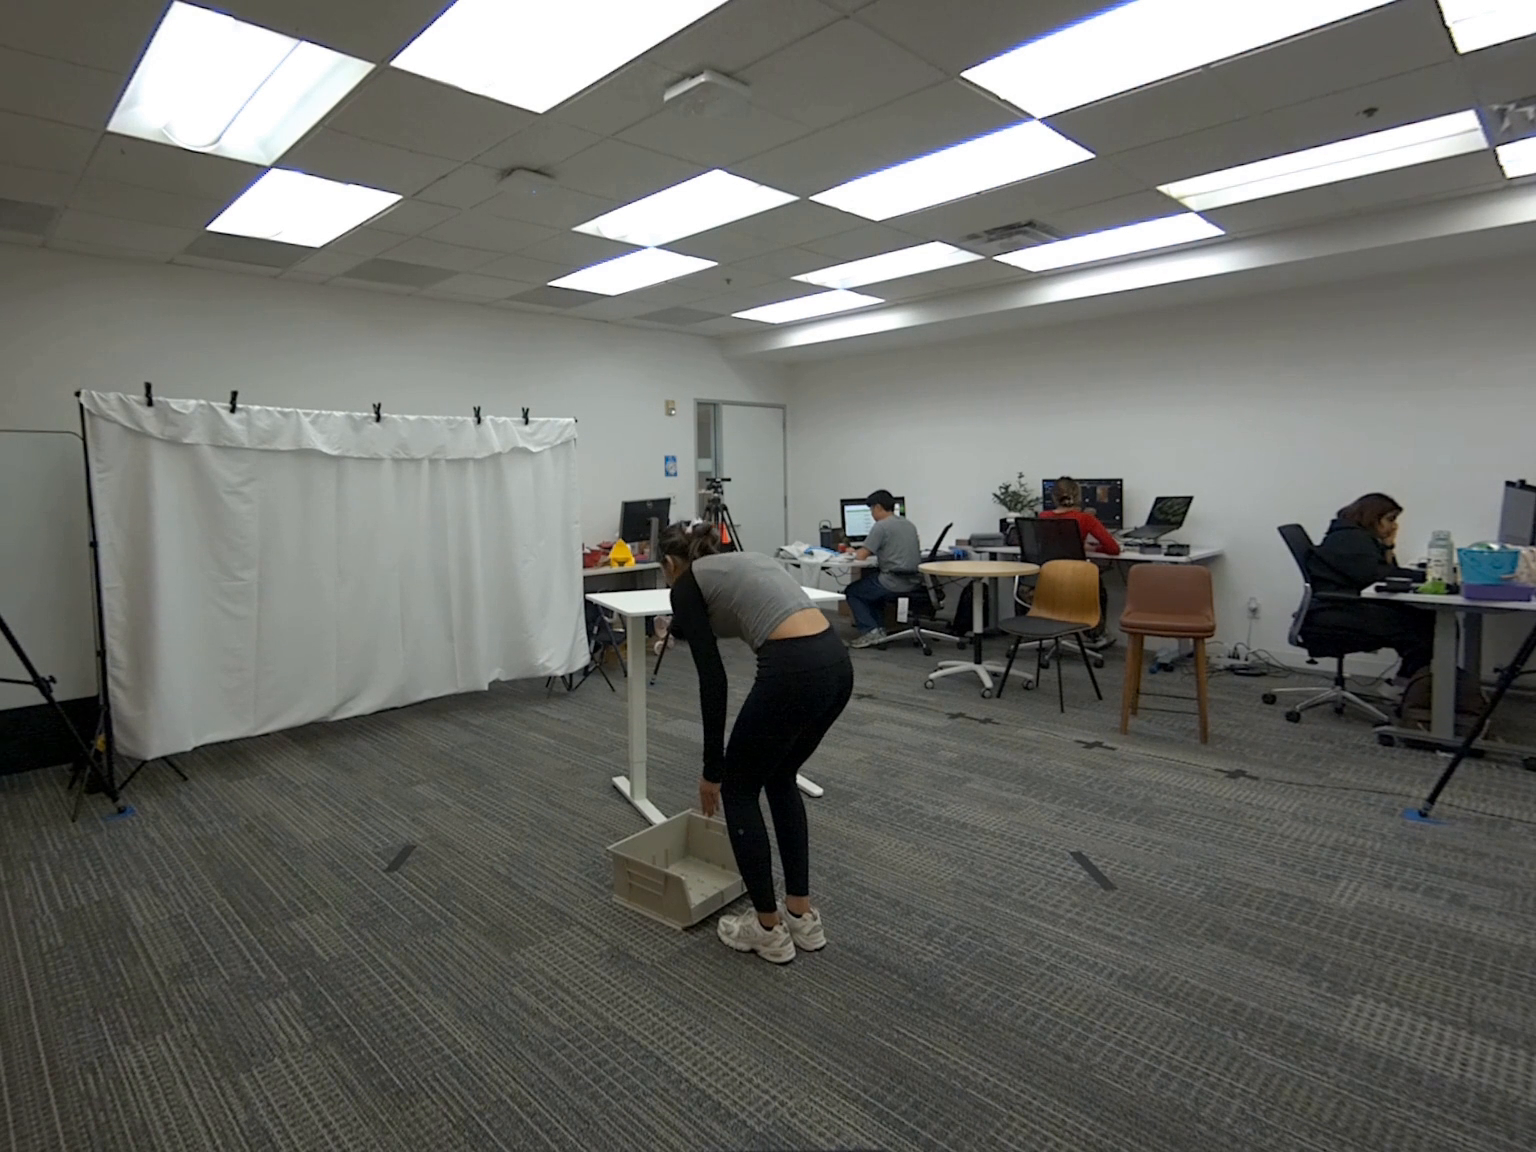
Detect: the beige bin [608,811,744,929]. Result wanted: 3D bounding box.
[{"bbox_3d":[-0.259,0.982,2.885,0.388,0.188,0.412,3,8,38],"label":"beige bin"}]
